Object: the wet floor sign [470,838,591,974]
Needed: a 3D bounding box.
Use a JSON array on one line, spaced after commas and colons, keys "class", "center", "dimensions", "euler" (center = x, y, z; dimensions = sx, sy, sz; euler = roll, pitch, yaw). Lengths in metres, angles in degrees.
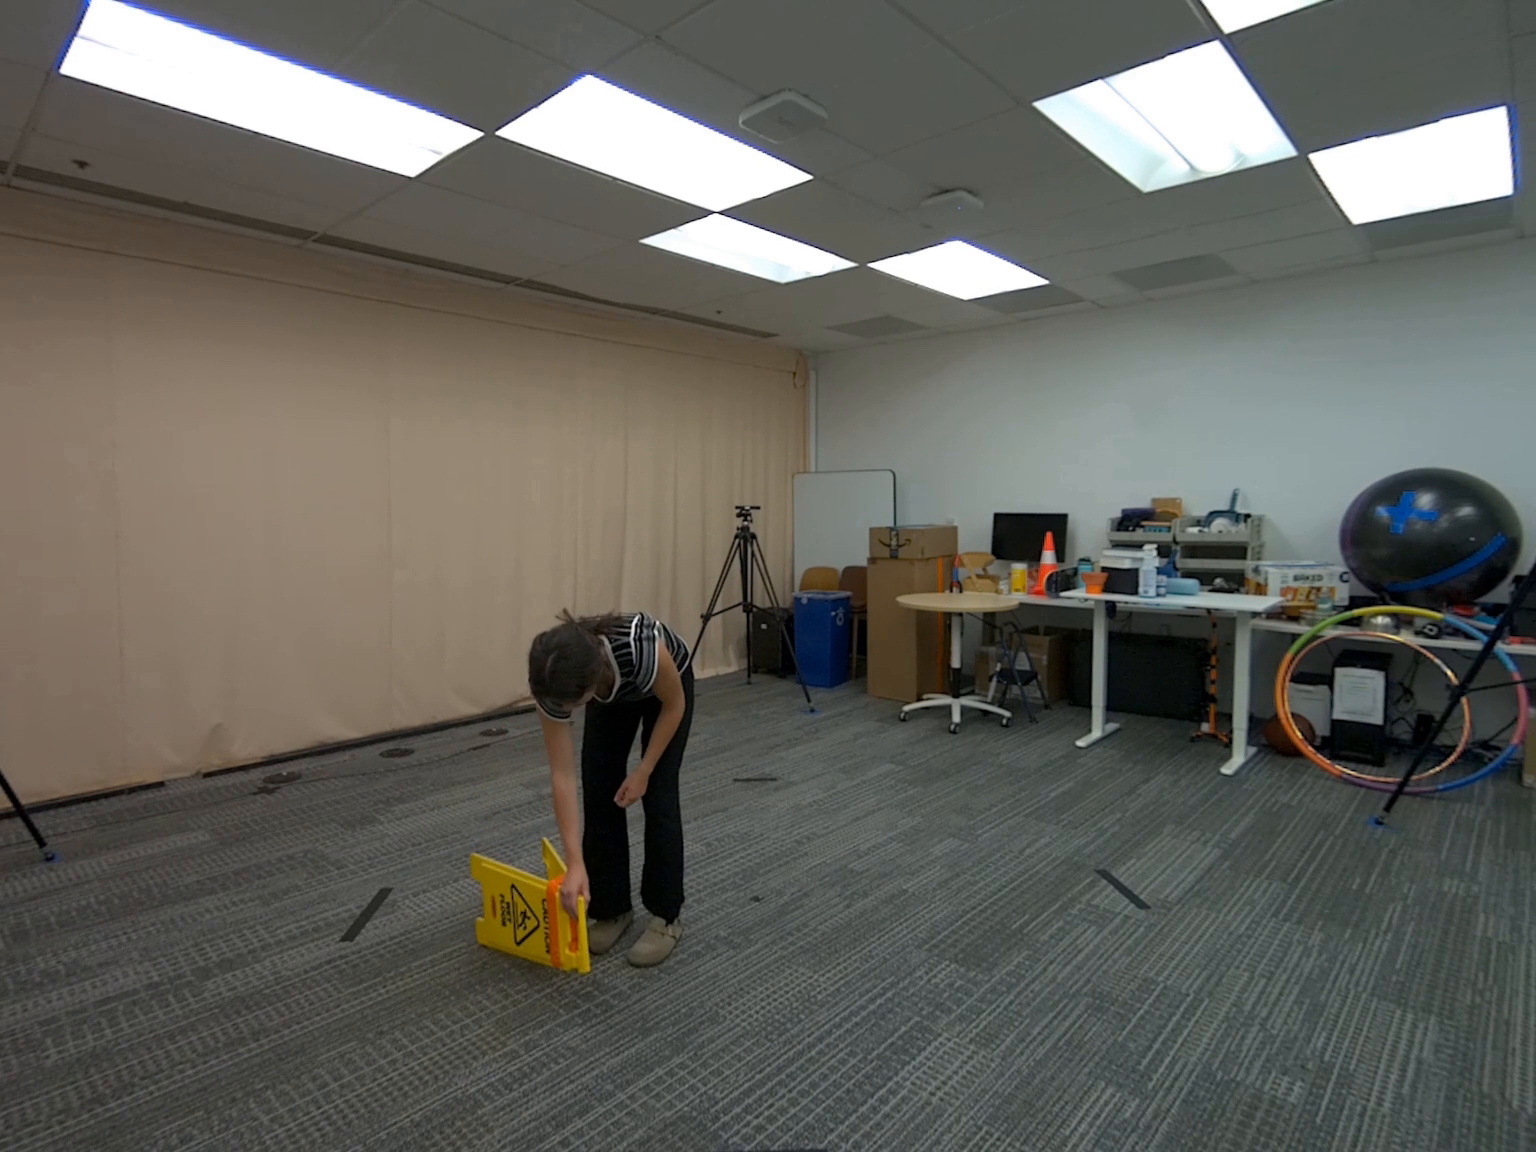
[{"class": "wet floor sign", "center": [-0.670, 0.995, 2.510], "dimensions": [0.282, 0.283, 0.661], "euler": [-5, -5, -33]}]
